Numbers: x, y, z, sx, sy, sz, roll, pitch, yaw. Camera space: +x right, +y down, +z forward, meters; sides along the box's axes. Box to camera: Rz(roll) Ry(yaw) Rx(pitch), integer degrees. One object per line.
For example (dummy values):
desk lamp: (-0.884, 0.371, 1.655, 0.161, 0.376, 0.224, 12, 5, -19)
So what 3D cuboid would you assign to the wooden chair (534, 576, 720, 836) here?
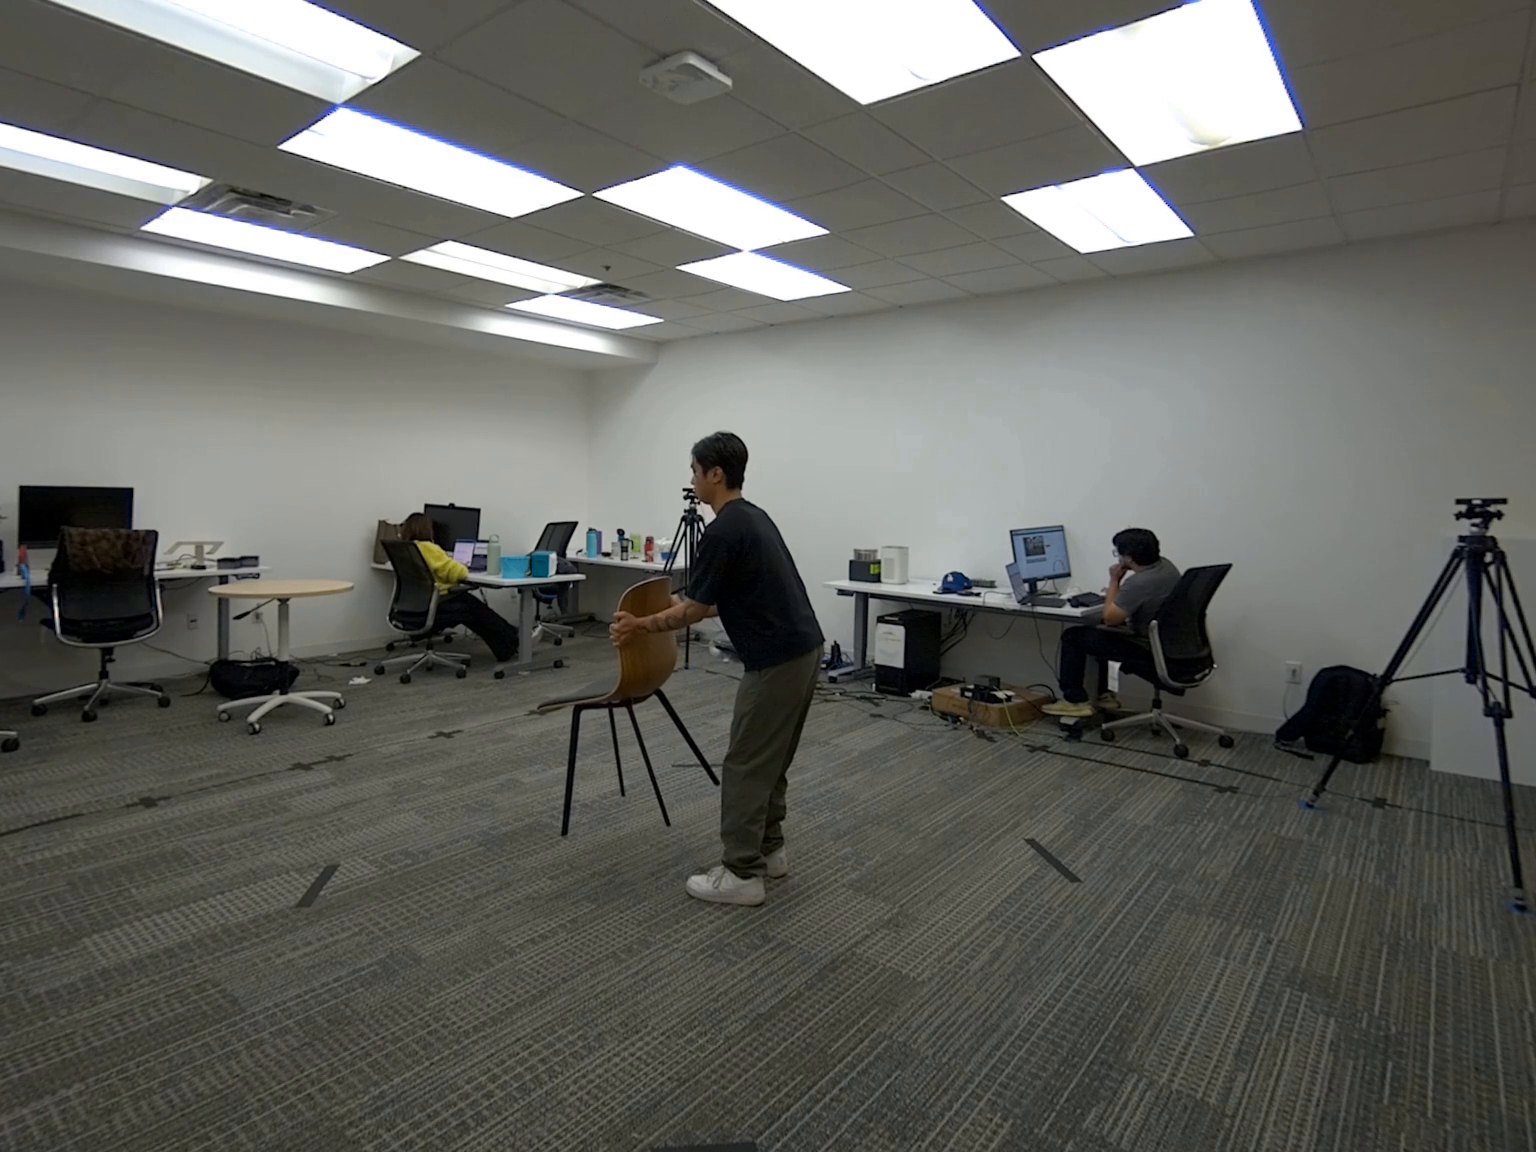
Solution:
wooden chair: (-0.586, 0.475, 3.239, 0.533, 0.877, 0.469, -9, 1, 22)
